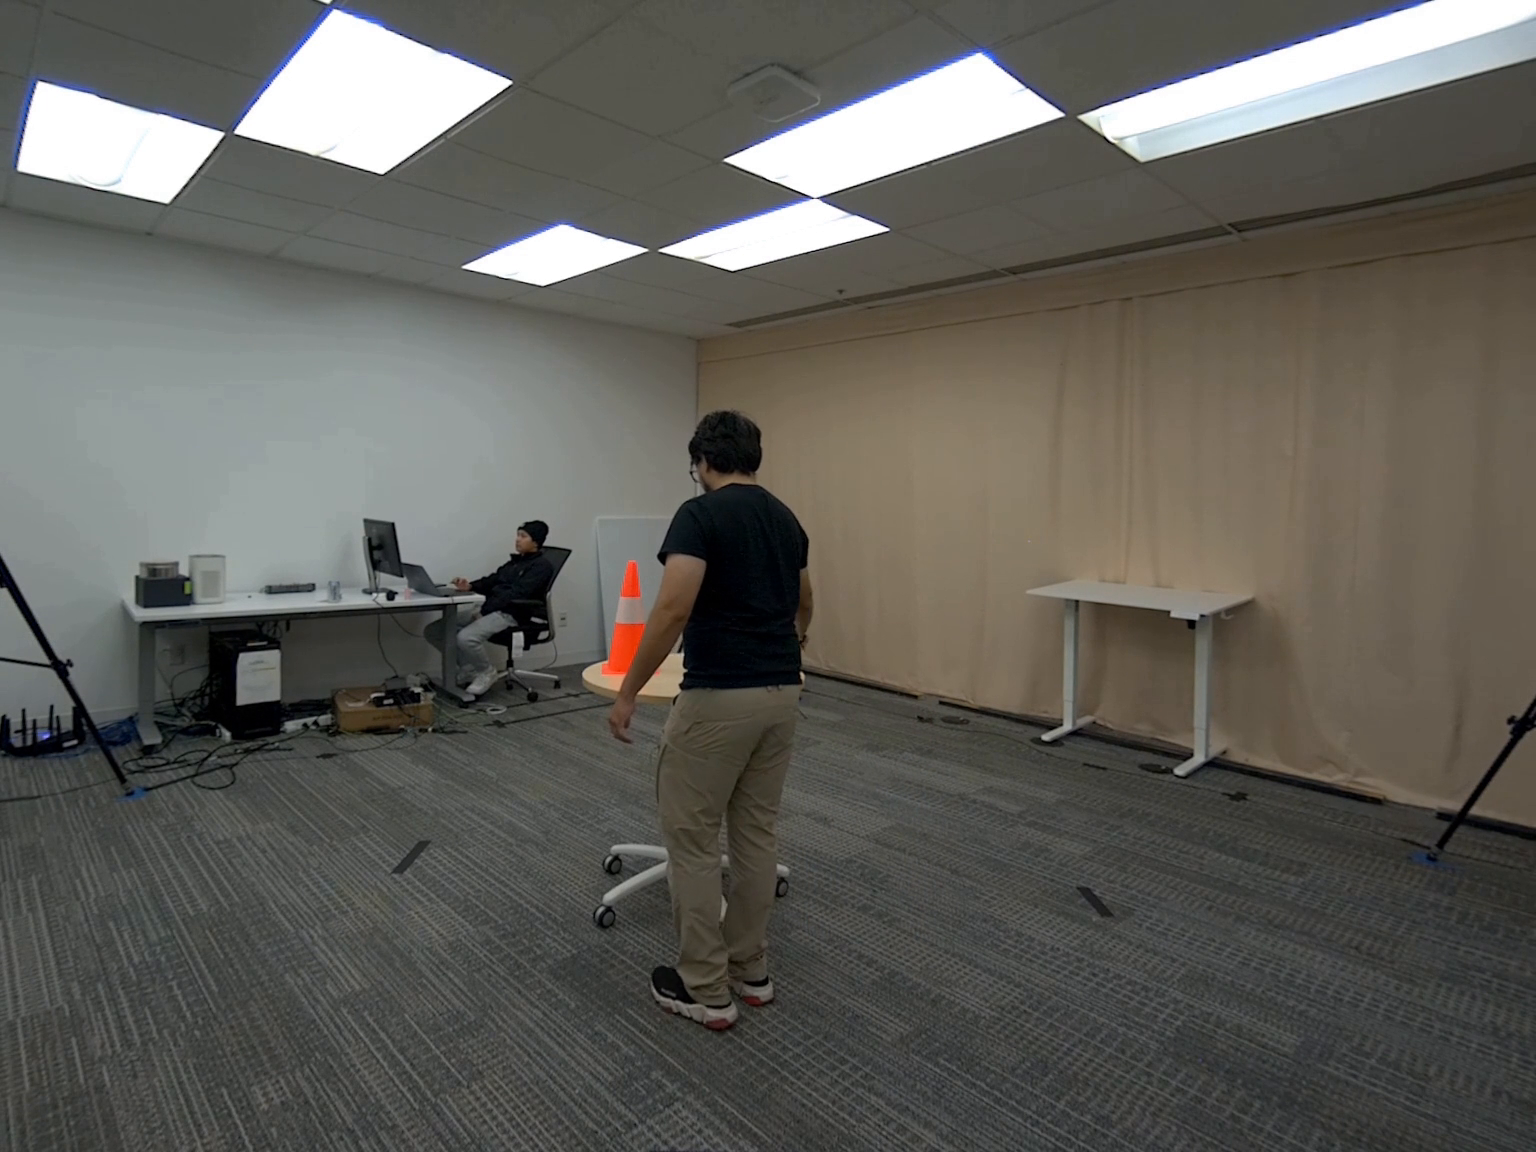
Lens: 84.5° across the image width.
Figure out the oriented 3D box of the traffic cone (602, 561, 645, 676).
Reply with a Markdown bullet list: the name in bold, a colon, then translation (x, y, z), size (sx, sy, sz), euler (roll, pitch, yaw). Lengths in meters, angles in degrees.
- **traffic cone**: translation (-0.486, 0.145, 2.946), size (0.202, 0.383, 0.206), euler (0, 3, -18)
